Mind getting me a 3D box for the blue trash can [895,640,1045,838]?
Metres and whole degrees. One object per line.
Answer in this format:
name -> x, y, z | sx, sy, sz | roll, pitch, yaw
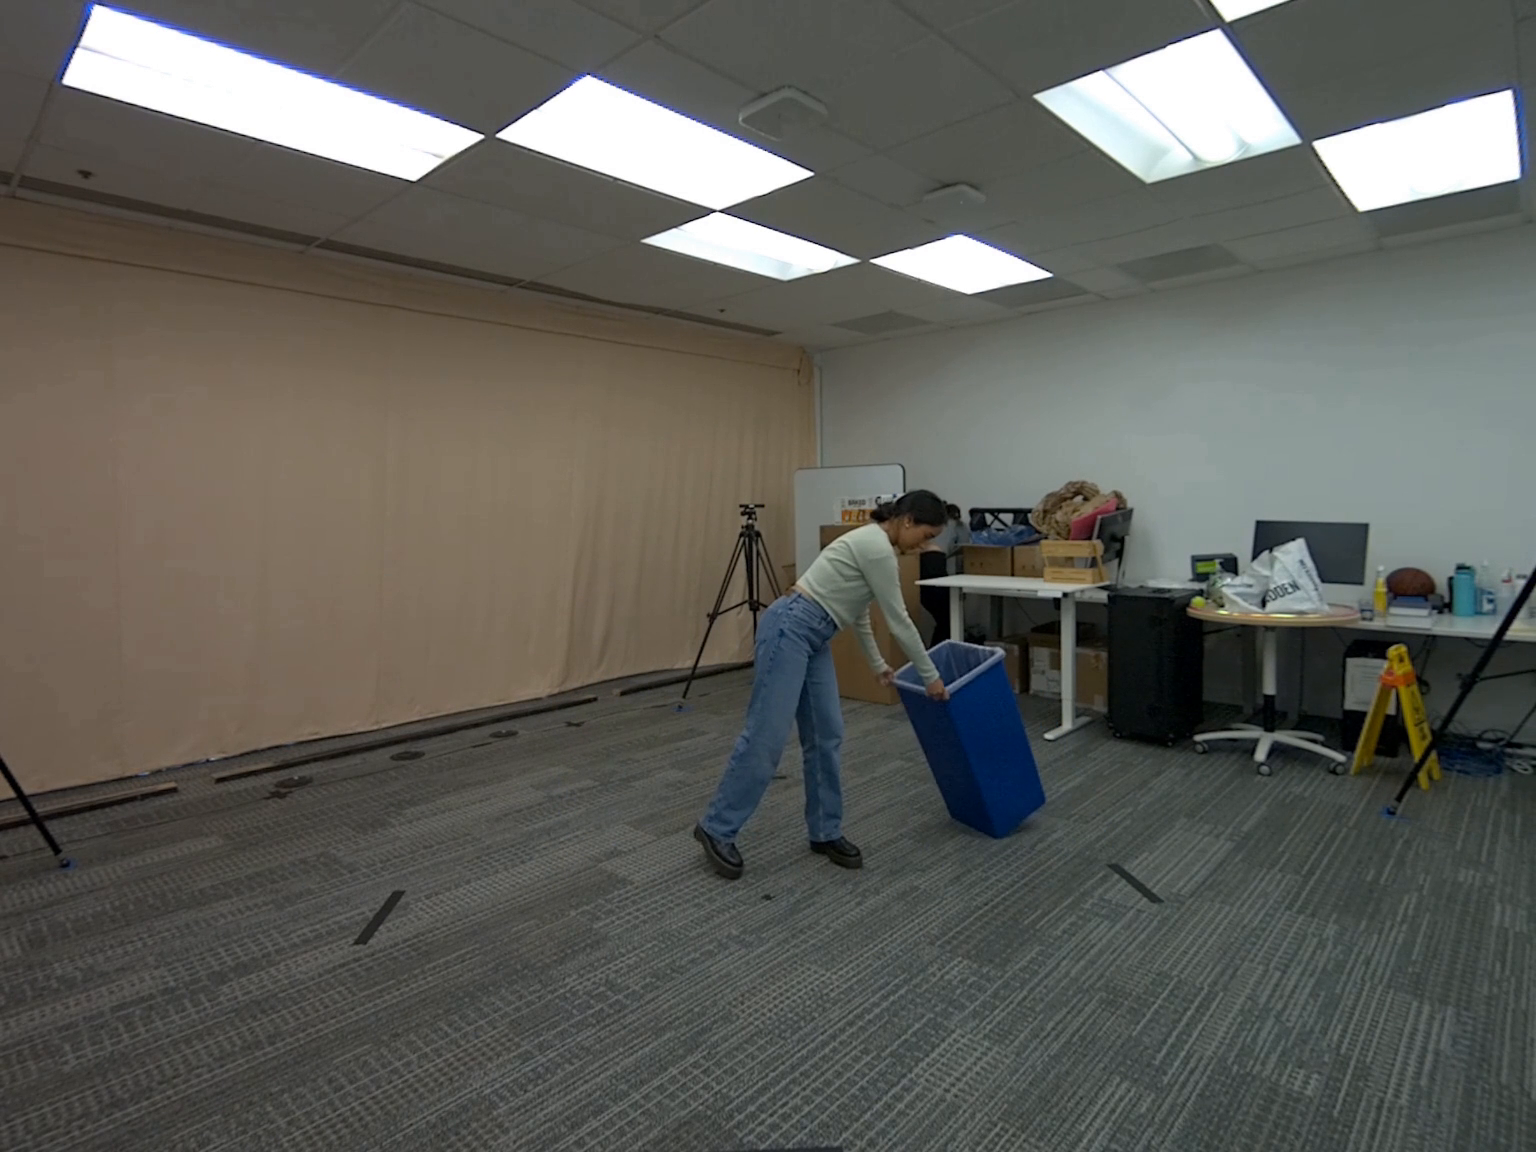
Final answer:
blue trash can -> 0.864, 0.692, 3.557 | 0.368, 0.706, 0.388 | -28, 13, -25
